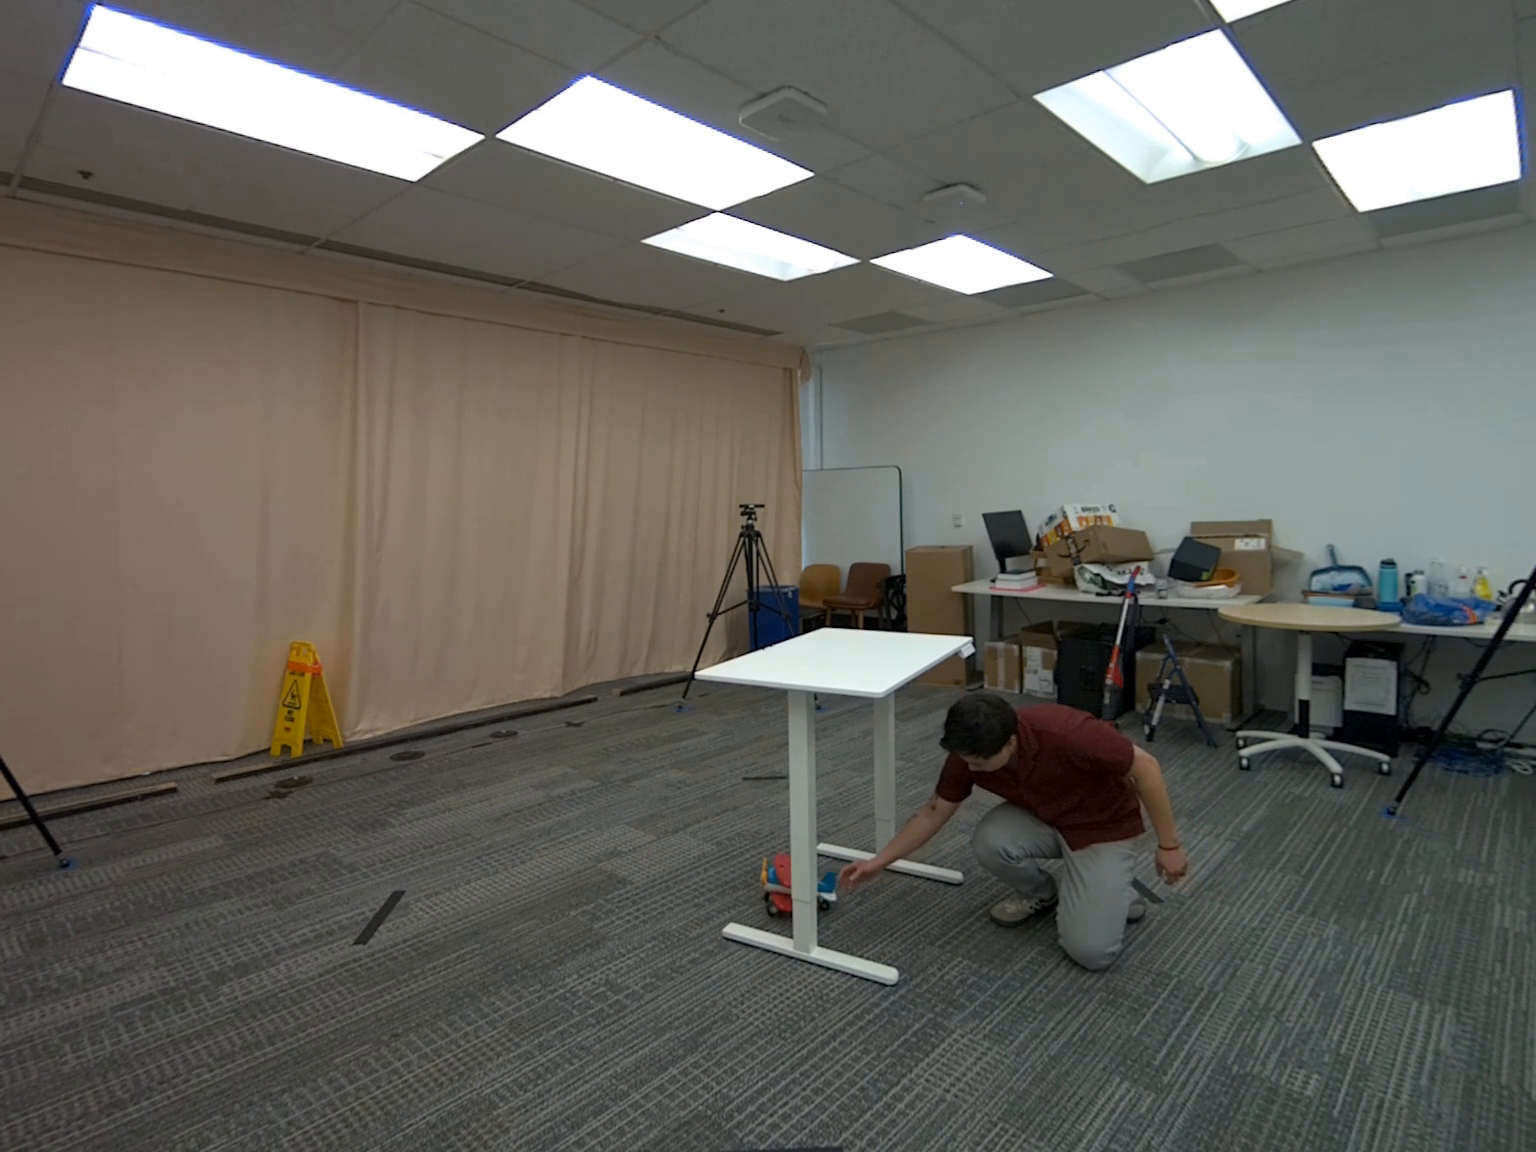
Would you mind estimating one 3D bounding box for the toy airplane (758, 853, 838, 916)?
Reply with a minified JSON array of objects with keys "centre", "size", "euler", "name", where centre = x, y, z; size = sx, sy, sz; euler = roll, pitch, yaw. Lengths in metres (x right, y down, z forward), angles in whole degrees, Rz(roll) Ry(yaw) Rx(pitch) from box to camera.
[{"centre":[0.106,1.077,2.908],"size":[0.252,0.156,0.258],"euler":[-3,4,-30],"name":"toy airplane"}]
